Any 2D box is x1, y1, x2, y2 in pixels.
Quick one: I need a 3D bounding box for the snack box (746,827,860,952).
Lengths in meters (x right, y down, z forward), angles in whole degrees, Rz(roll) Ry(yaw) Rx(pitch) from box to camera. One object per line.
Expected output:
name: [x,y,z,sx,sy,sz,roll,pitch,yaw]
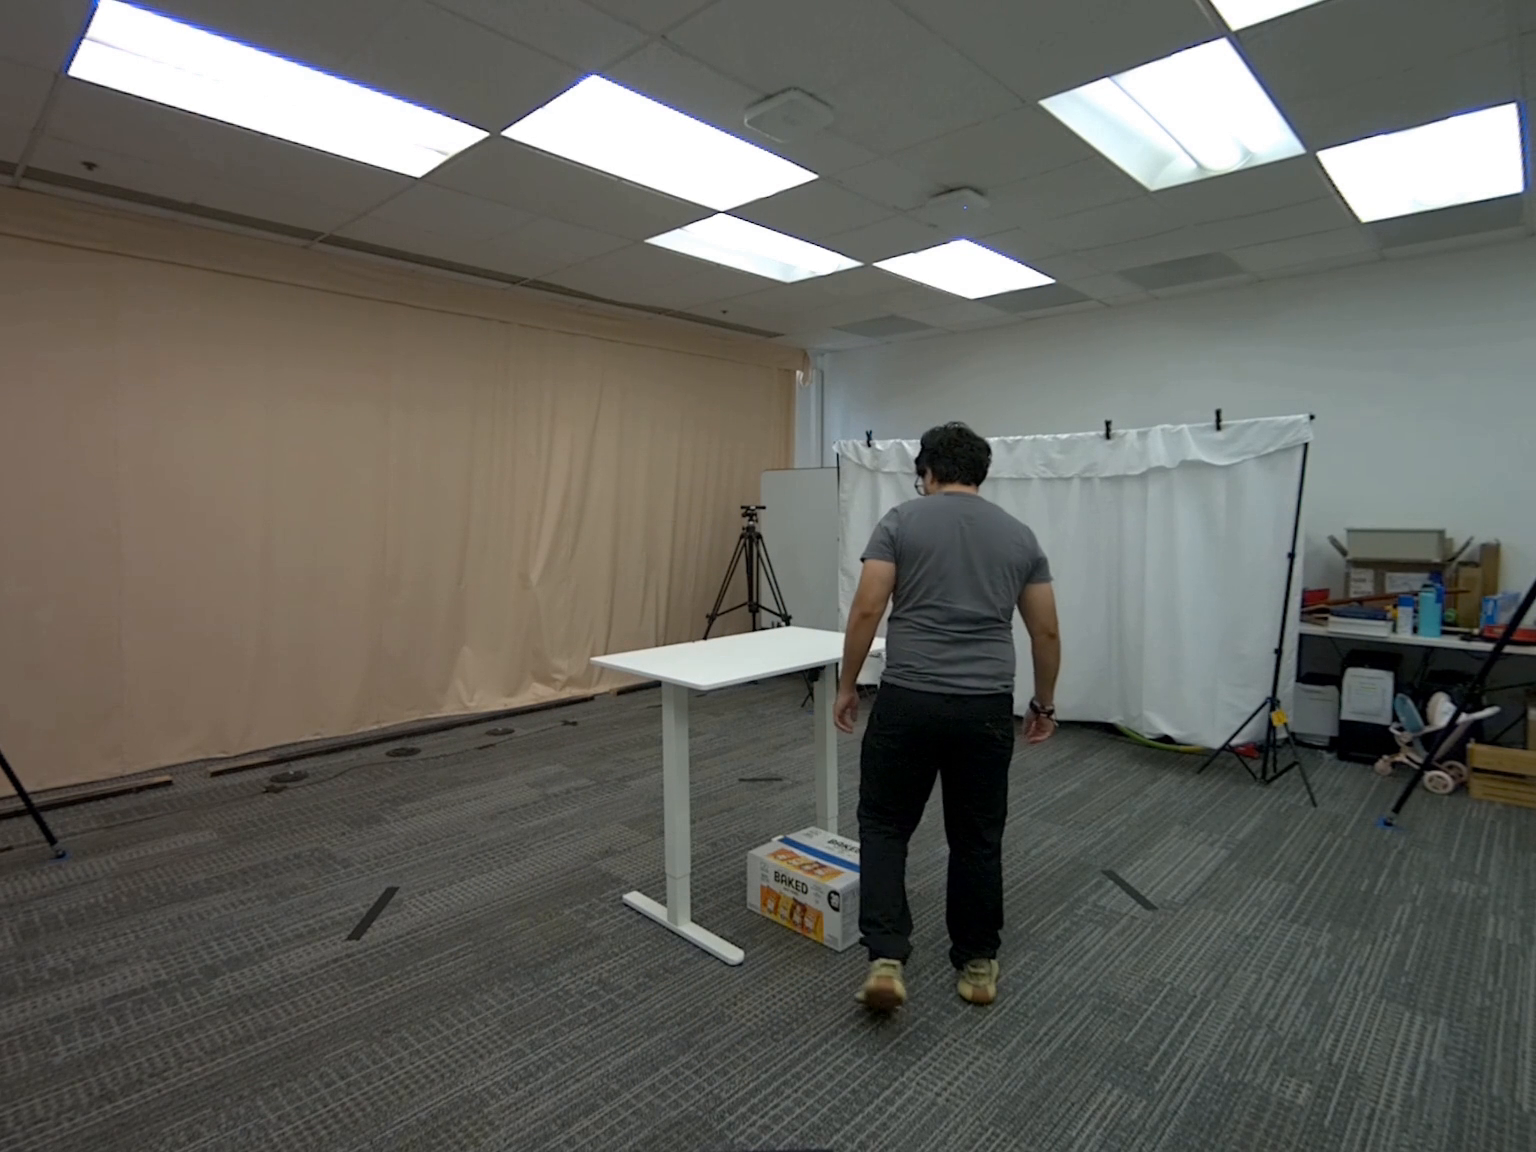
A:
snack box: [0.197,1.054,2.868,0.419,0.205,0.330,4,6,45]
